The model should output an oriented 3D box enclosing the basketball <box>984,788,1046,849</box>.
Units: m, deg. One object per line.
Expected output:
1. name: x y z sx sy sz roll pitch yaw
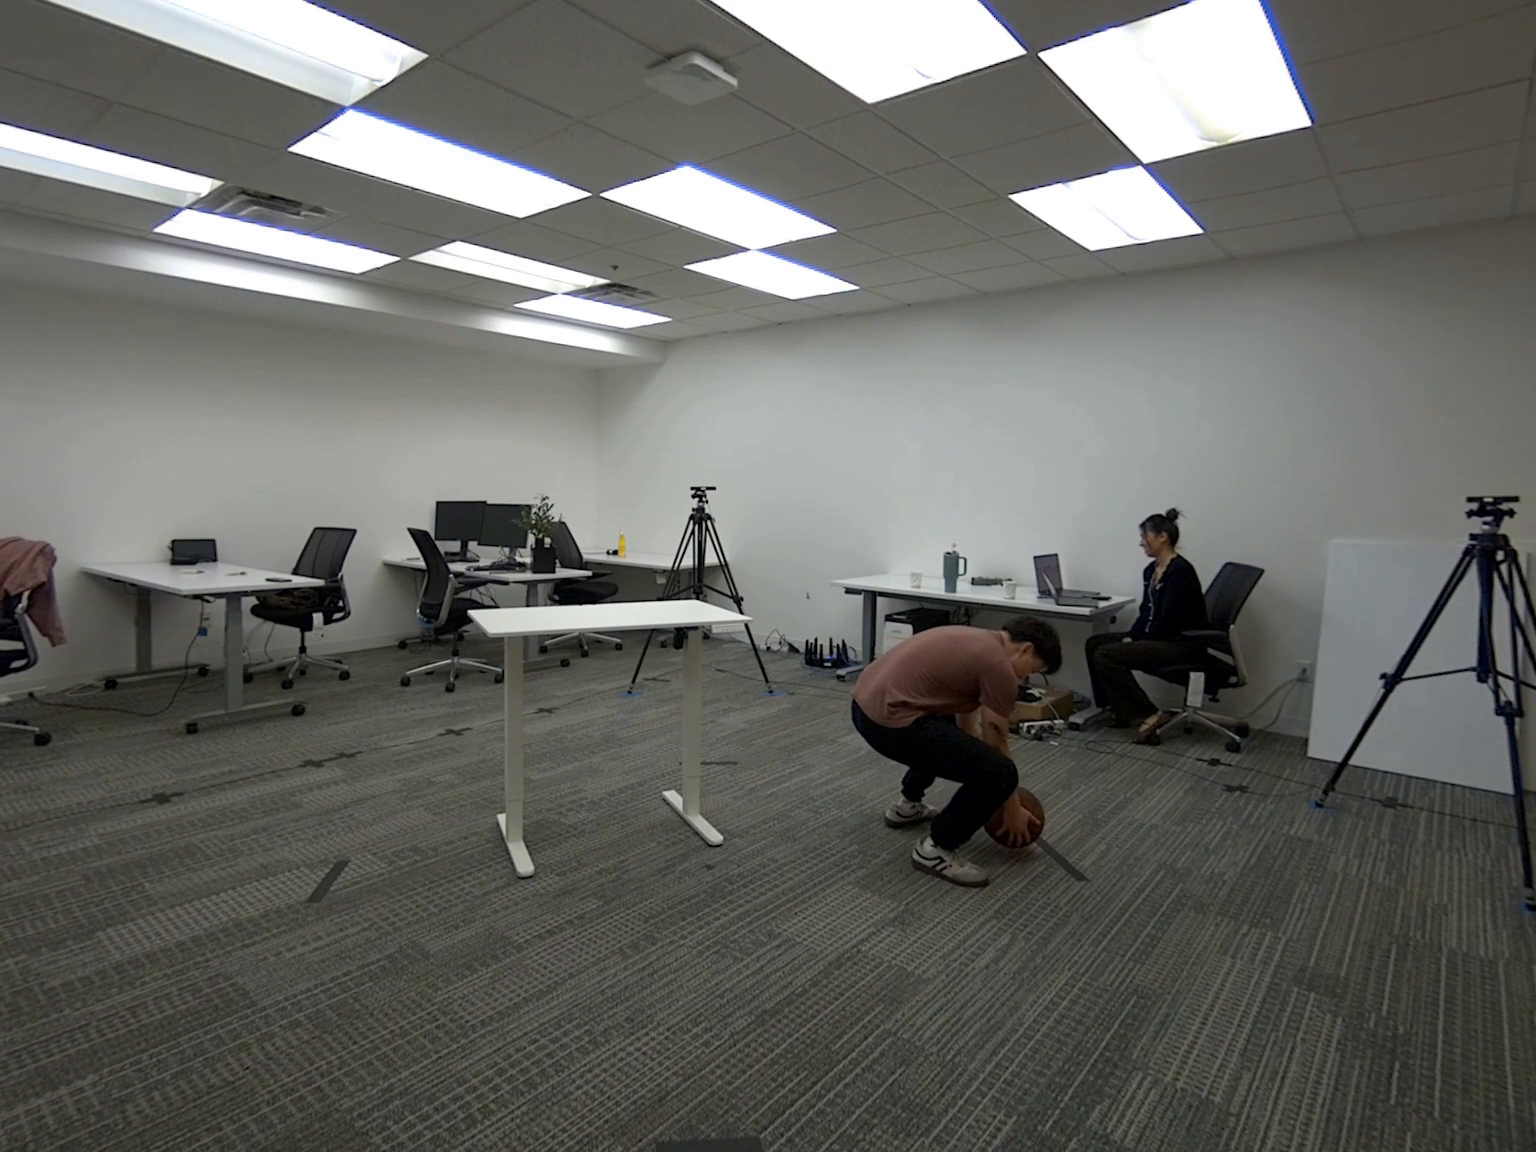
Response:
1. basketball: 0.947 0.914 3.326 0.235 0.235 0.237 1 4 -2
